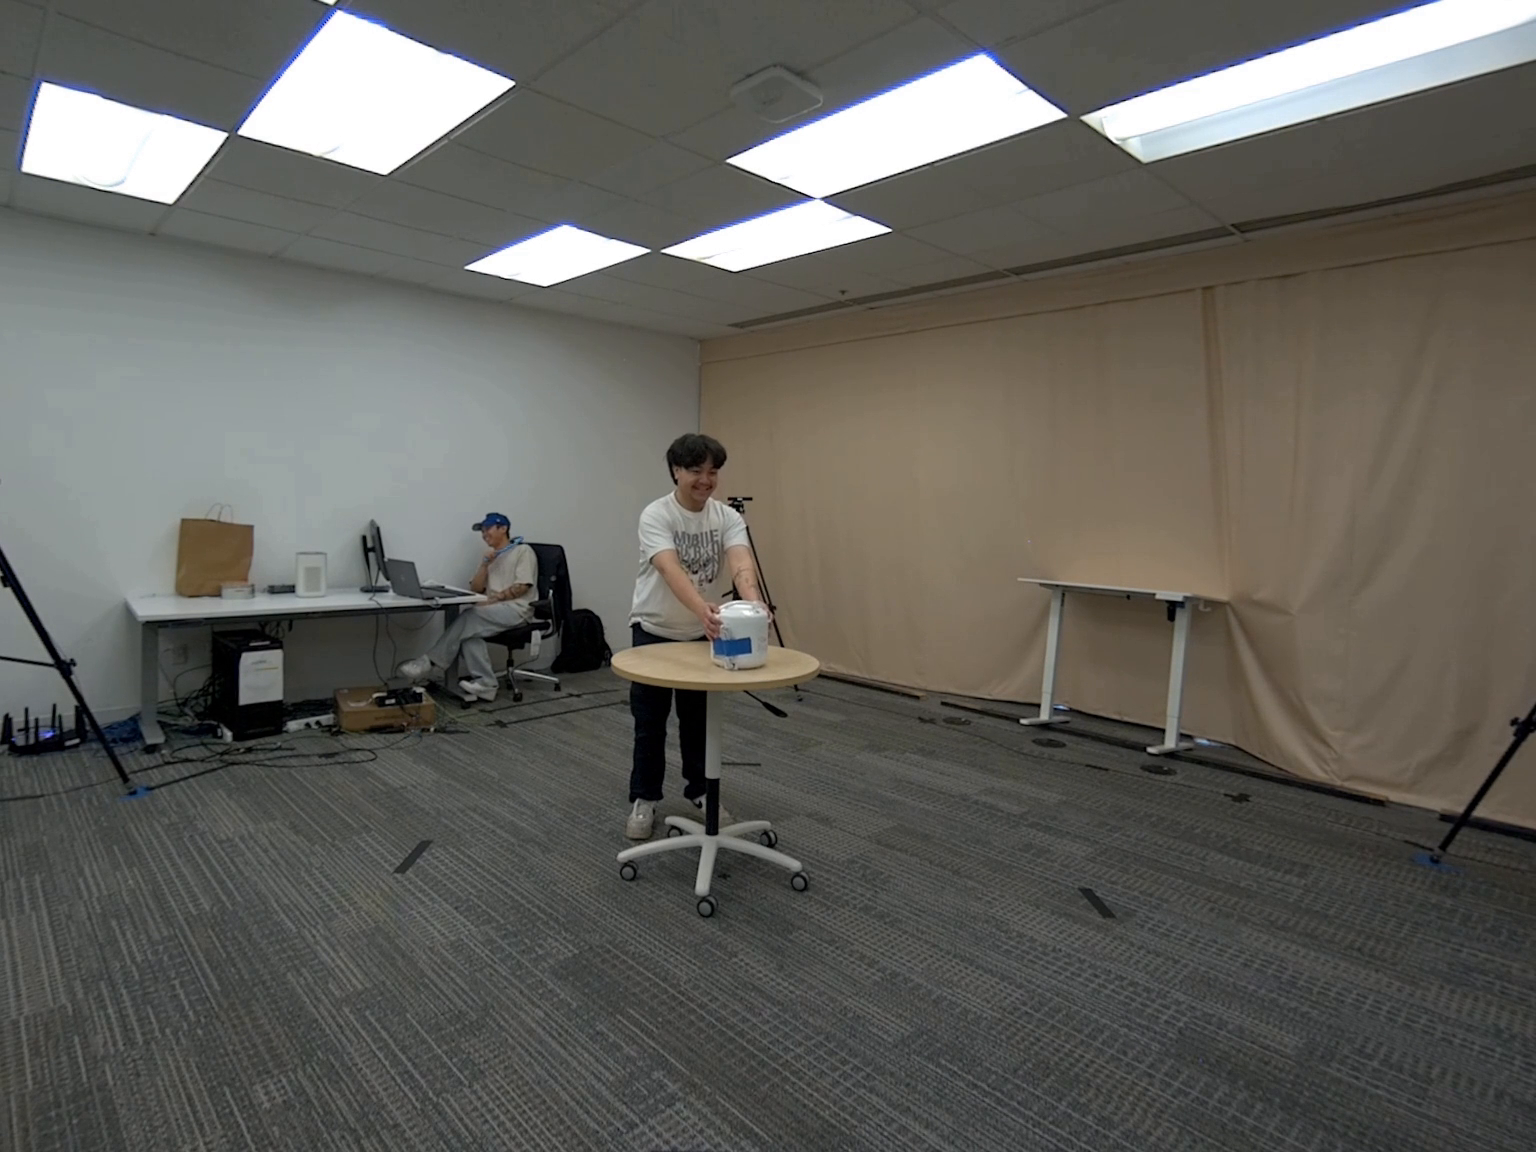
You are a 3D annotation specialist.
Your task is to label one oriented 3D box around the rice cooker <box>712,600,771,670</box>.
[{"bbox_3d":[-0.110,0.206,3.015,0.216,0.232,0.222,1,5,-26],"label":"rice cooker"}]
